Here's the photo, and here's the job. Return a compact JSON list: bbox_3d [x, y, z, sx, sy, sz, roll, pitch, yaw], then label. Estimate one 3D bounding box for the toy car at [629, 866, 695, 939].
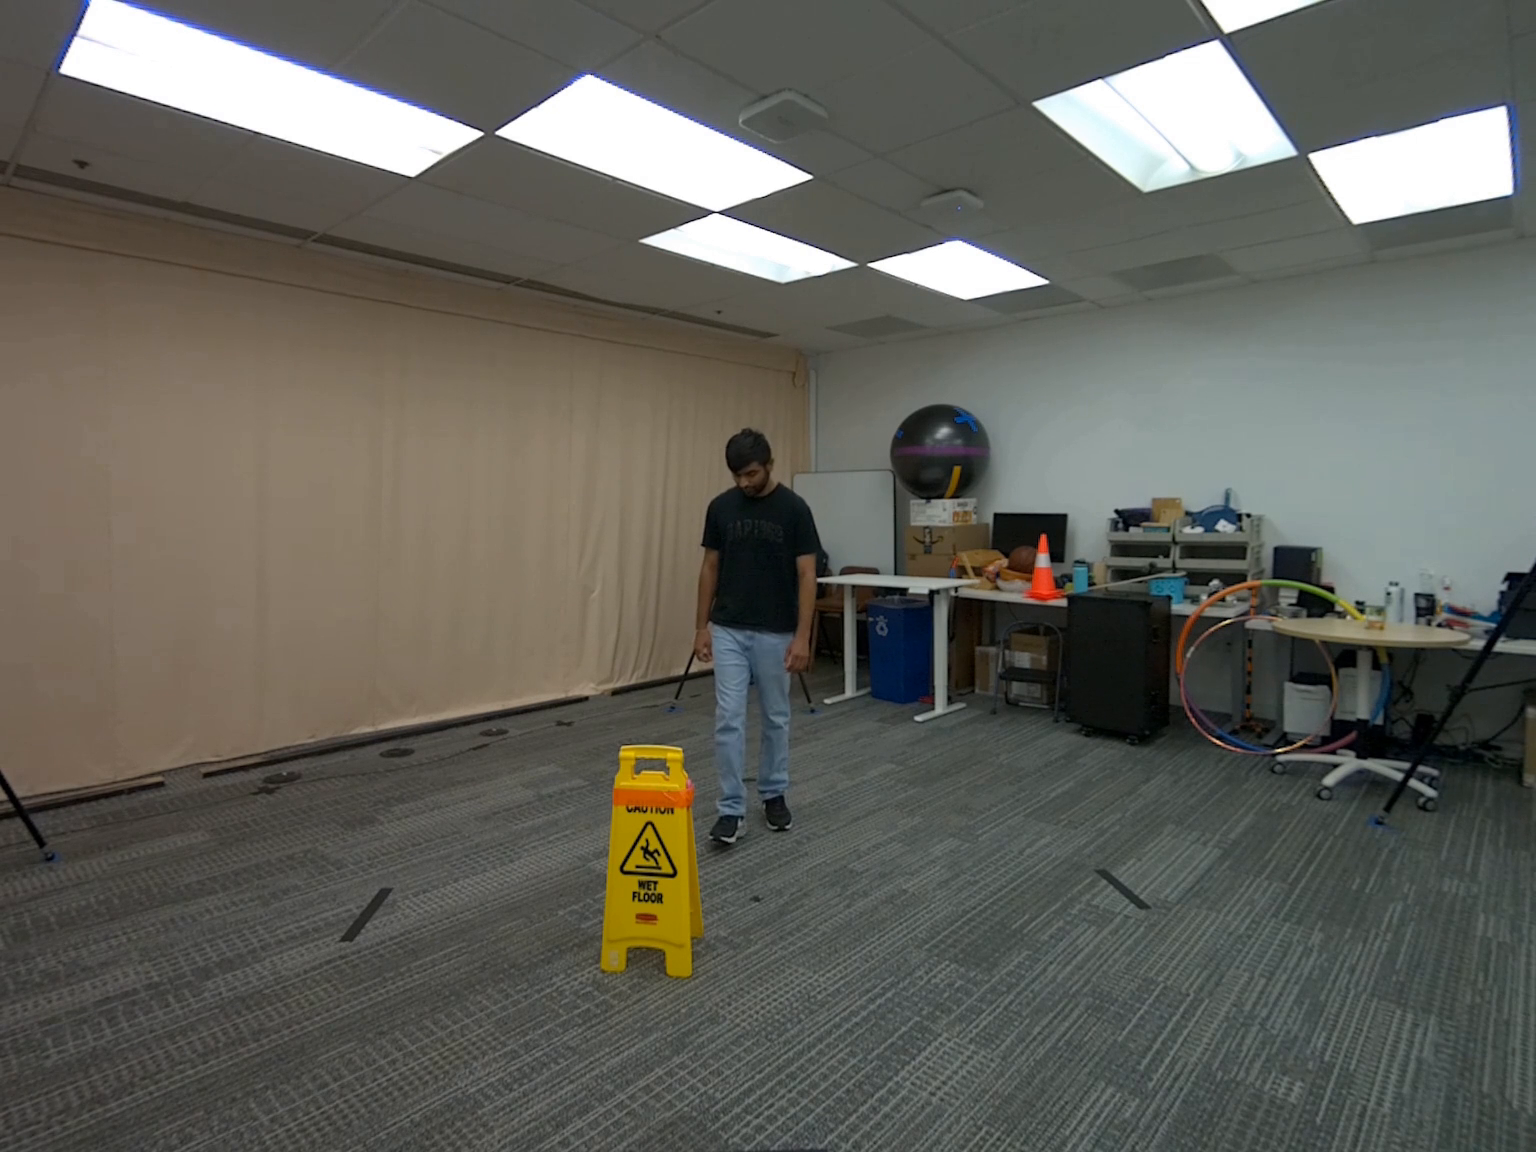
[{"bbox_3d":[-0.365,1.121,2.925,0.133,0.082,0.252,0,15,17],"label":"toy car"}]
